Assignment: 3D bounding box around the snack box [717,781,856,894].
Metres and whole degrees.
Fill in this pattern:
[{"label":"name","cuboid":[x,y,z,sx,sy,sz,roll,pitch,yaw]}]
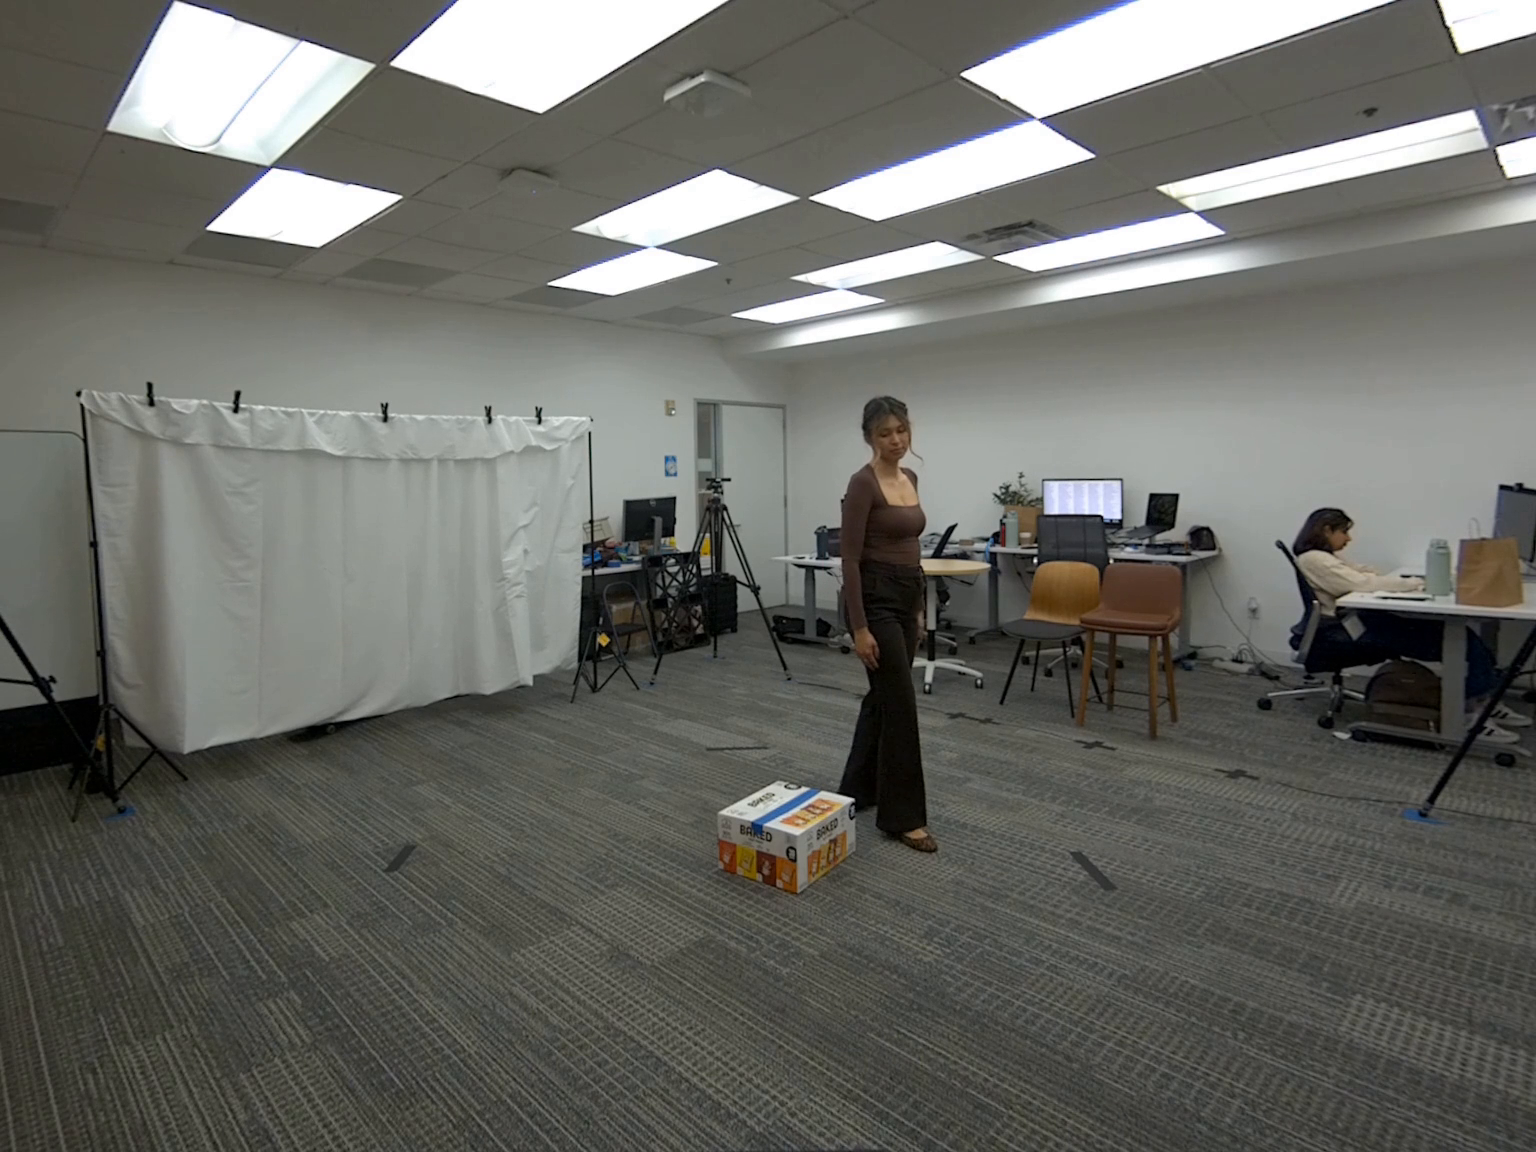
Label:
[{"label":"snack box","cuboid":[0.077,0.938,3.117,0.350,0.205,0.395,3,7,36]}]
